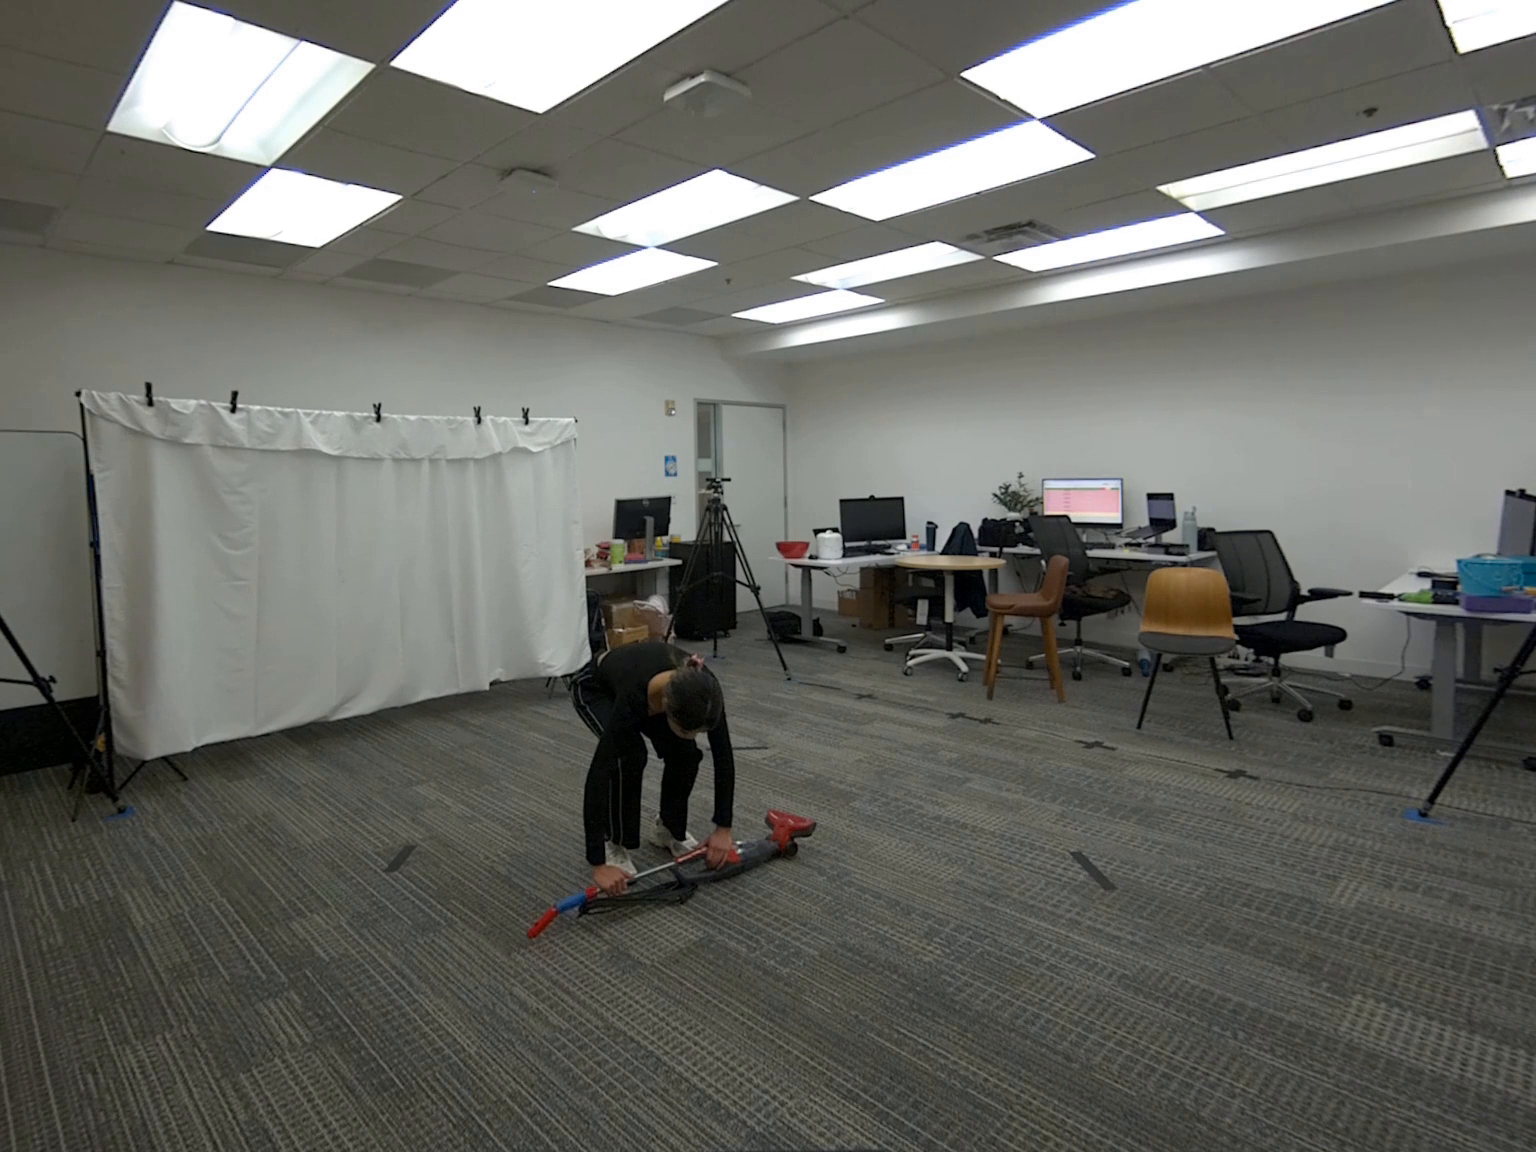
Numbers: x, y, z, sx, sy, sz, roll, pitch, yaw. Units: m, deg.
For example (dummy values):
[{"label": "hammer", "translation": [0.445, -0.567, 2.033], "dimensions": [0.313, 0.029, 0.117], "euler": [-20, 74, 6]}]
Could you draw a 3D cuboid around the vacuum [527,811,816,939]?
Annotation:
[{"label": "vacuum", "translation": [-0.310, 1.014, 2.869], "dimensions": [1.024, 0.144, 0.259], "euler": [-9, 4, -39]}]
